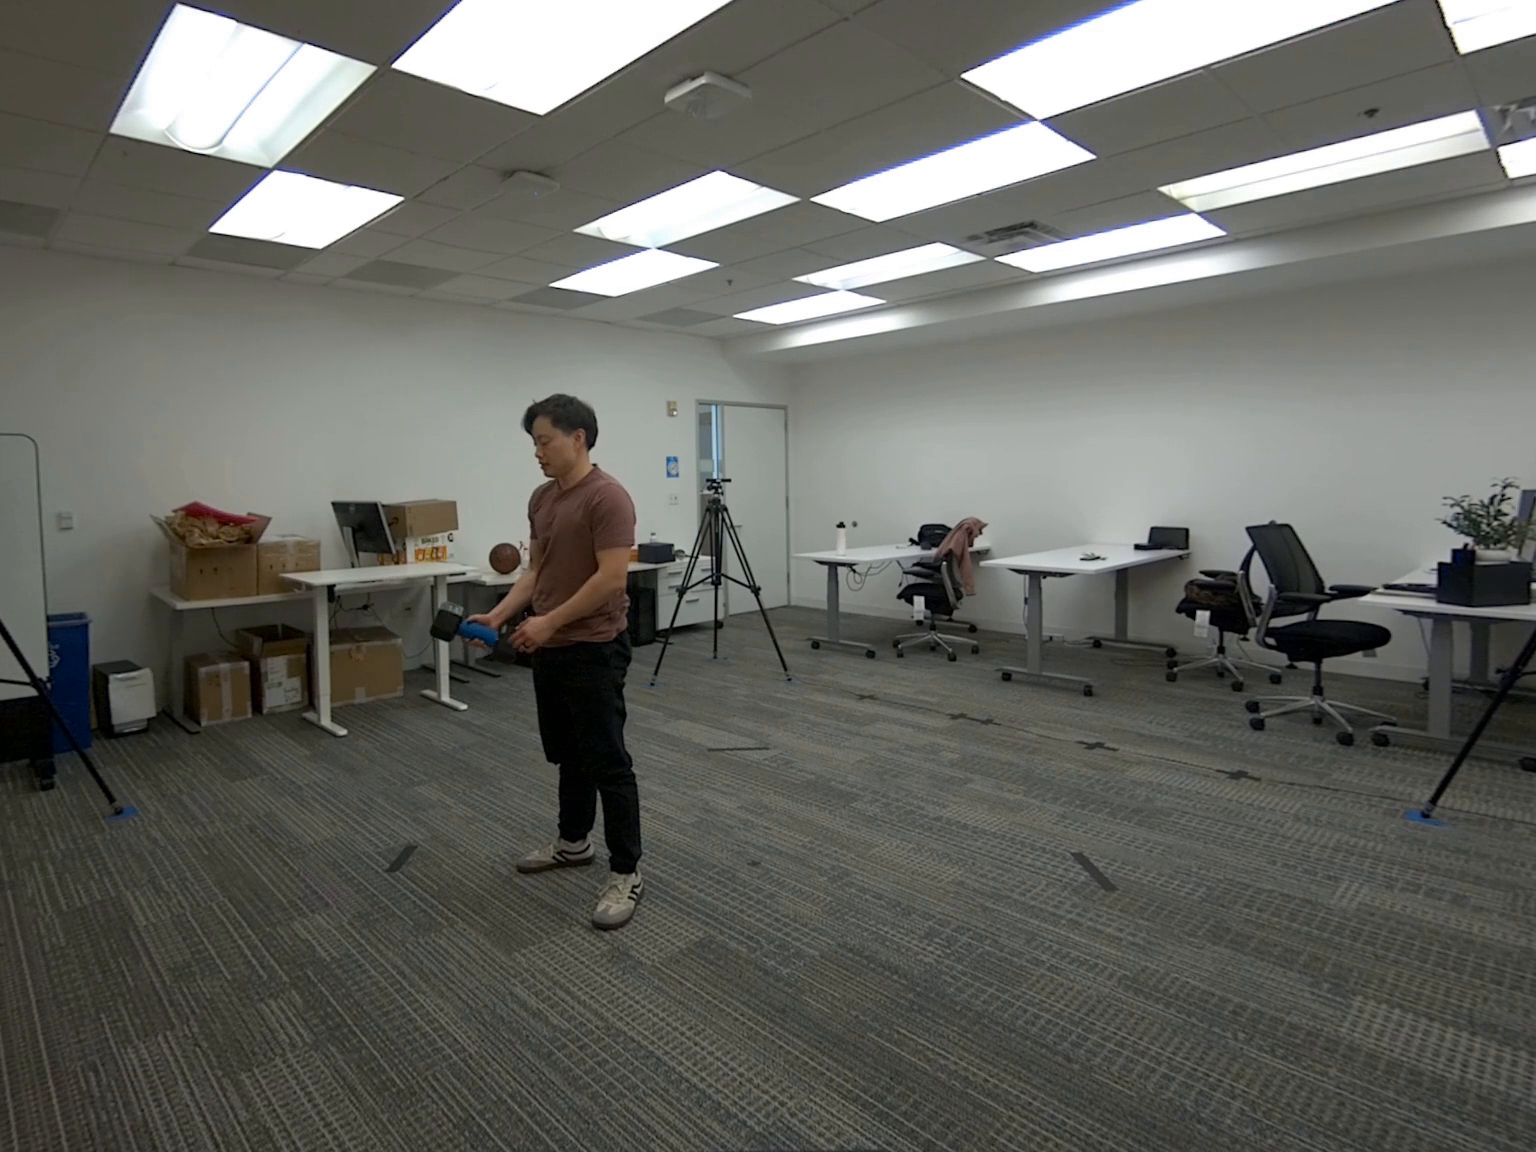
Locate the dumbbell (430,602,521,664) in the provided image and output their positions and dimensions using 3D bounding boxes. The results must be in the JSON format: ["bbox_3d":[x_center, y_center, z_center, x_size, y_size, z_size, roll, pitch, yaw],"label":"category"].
[{"bbox_3d":[-0.949,0.184,2.814,0.288,0.108,0.126,21,15,-16],"label":"dumbbell"}]
